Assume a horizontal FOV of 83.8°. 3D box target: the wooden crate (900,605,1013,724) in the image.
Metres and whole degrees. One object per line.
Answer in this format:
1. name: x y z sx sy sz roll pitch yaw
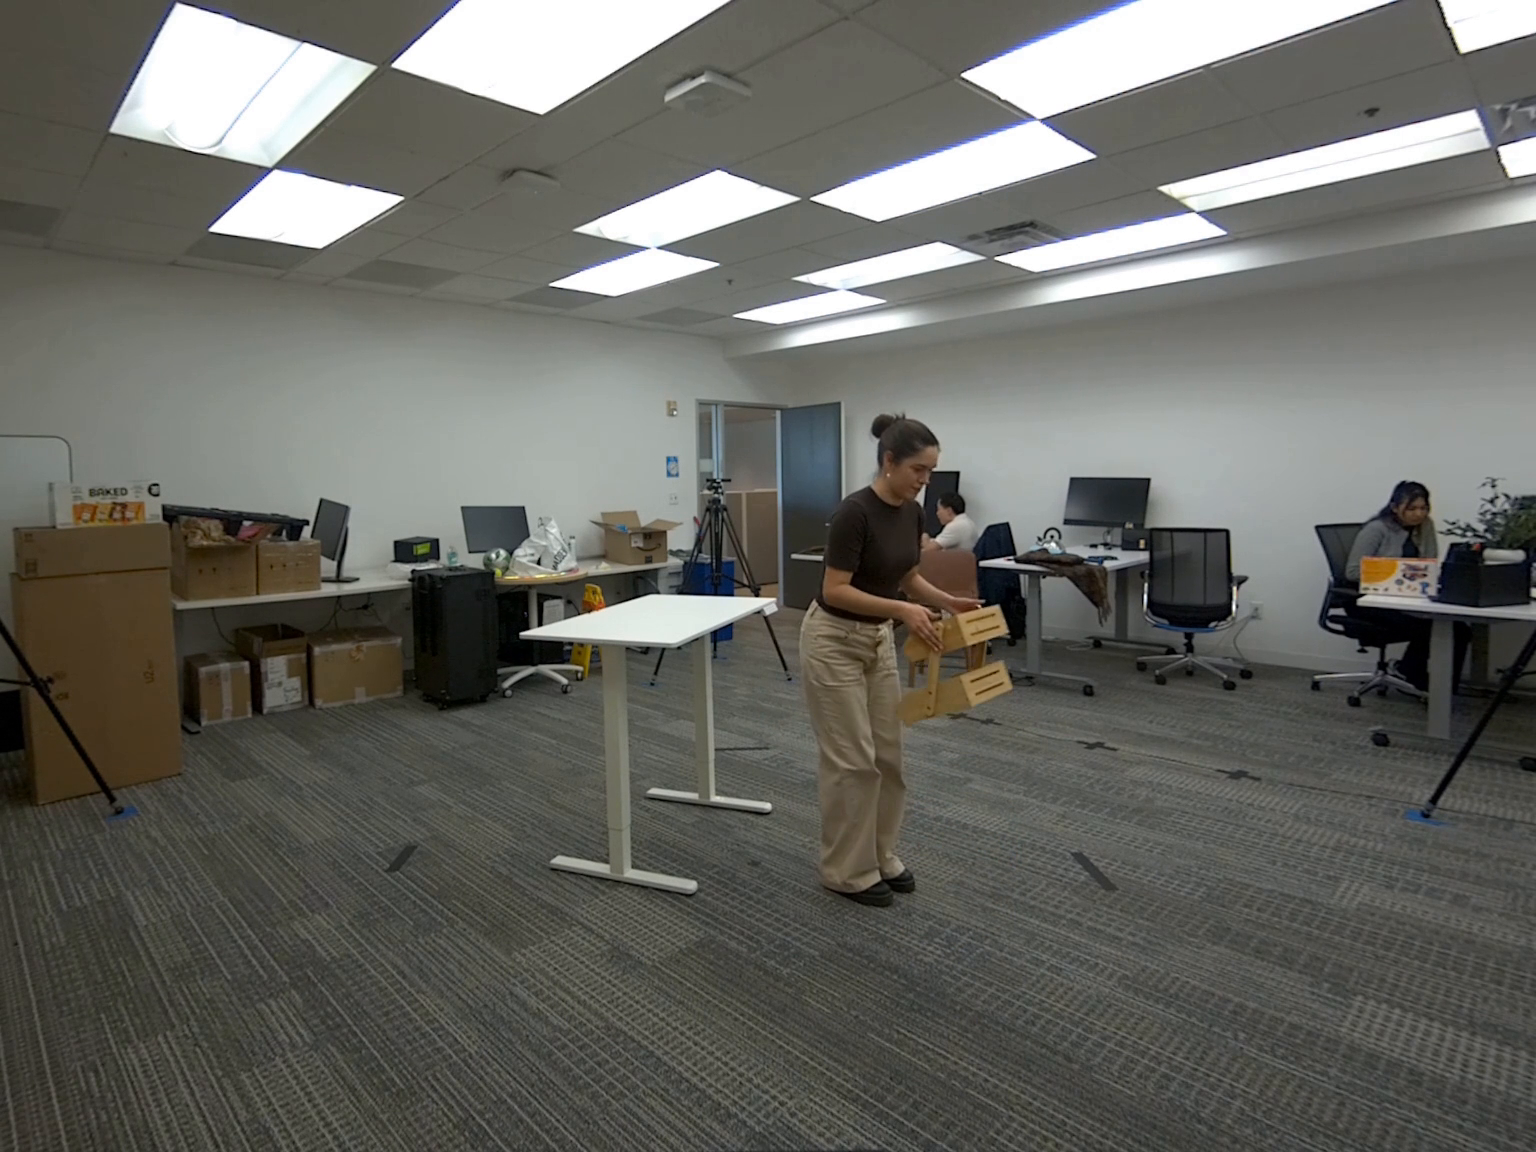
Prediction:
1. wooden crate: 0.561 0.275 2.643 0.306 0.277 0.316 -24 -12 38
